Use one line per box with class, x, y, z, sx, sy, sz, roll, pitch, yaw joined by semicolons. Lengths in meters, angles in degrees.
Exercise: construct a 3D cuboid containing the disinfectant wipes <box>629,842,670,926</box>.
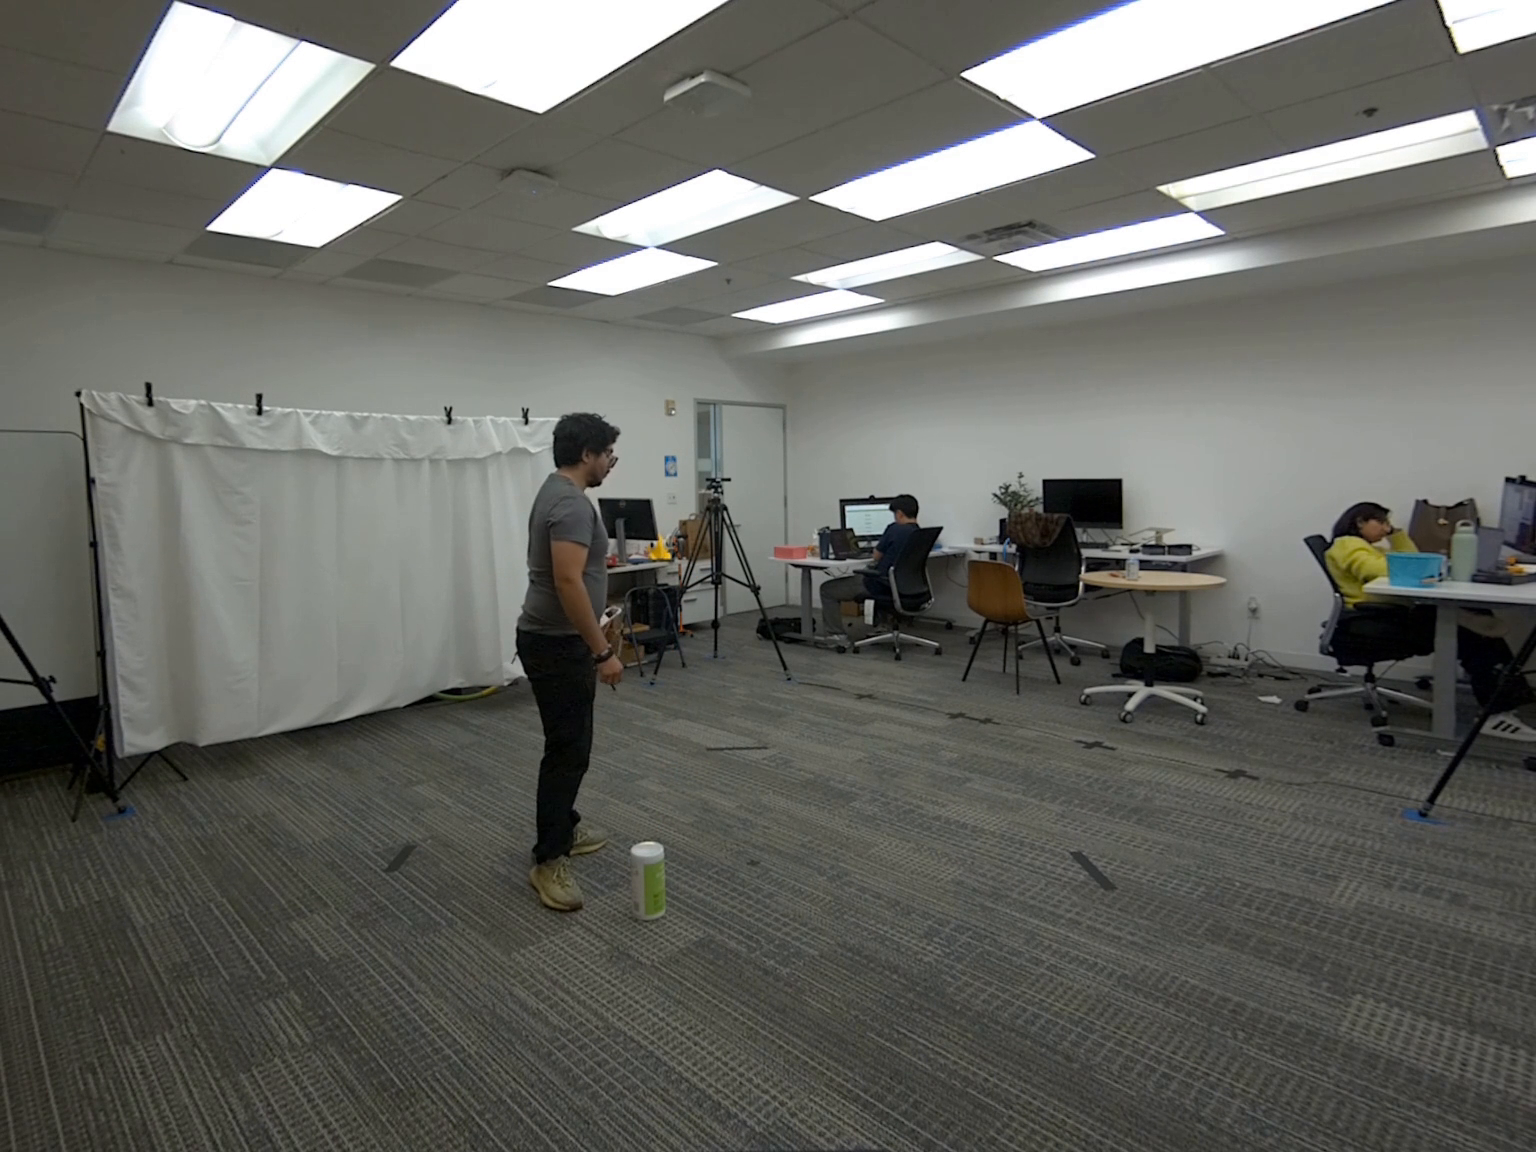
disinfectant wipes;-0.380;0.985;2.749;0.118;0.217;0.118;0;1;-2
